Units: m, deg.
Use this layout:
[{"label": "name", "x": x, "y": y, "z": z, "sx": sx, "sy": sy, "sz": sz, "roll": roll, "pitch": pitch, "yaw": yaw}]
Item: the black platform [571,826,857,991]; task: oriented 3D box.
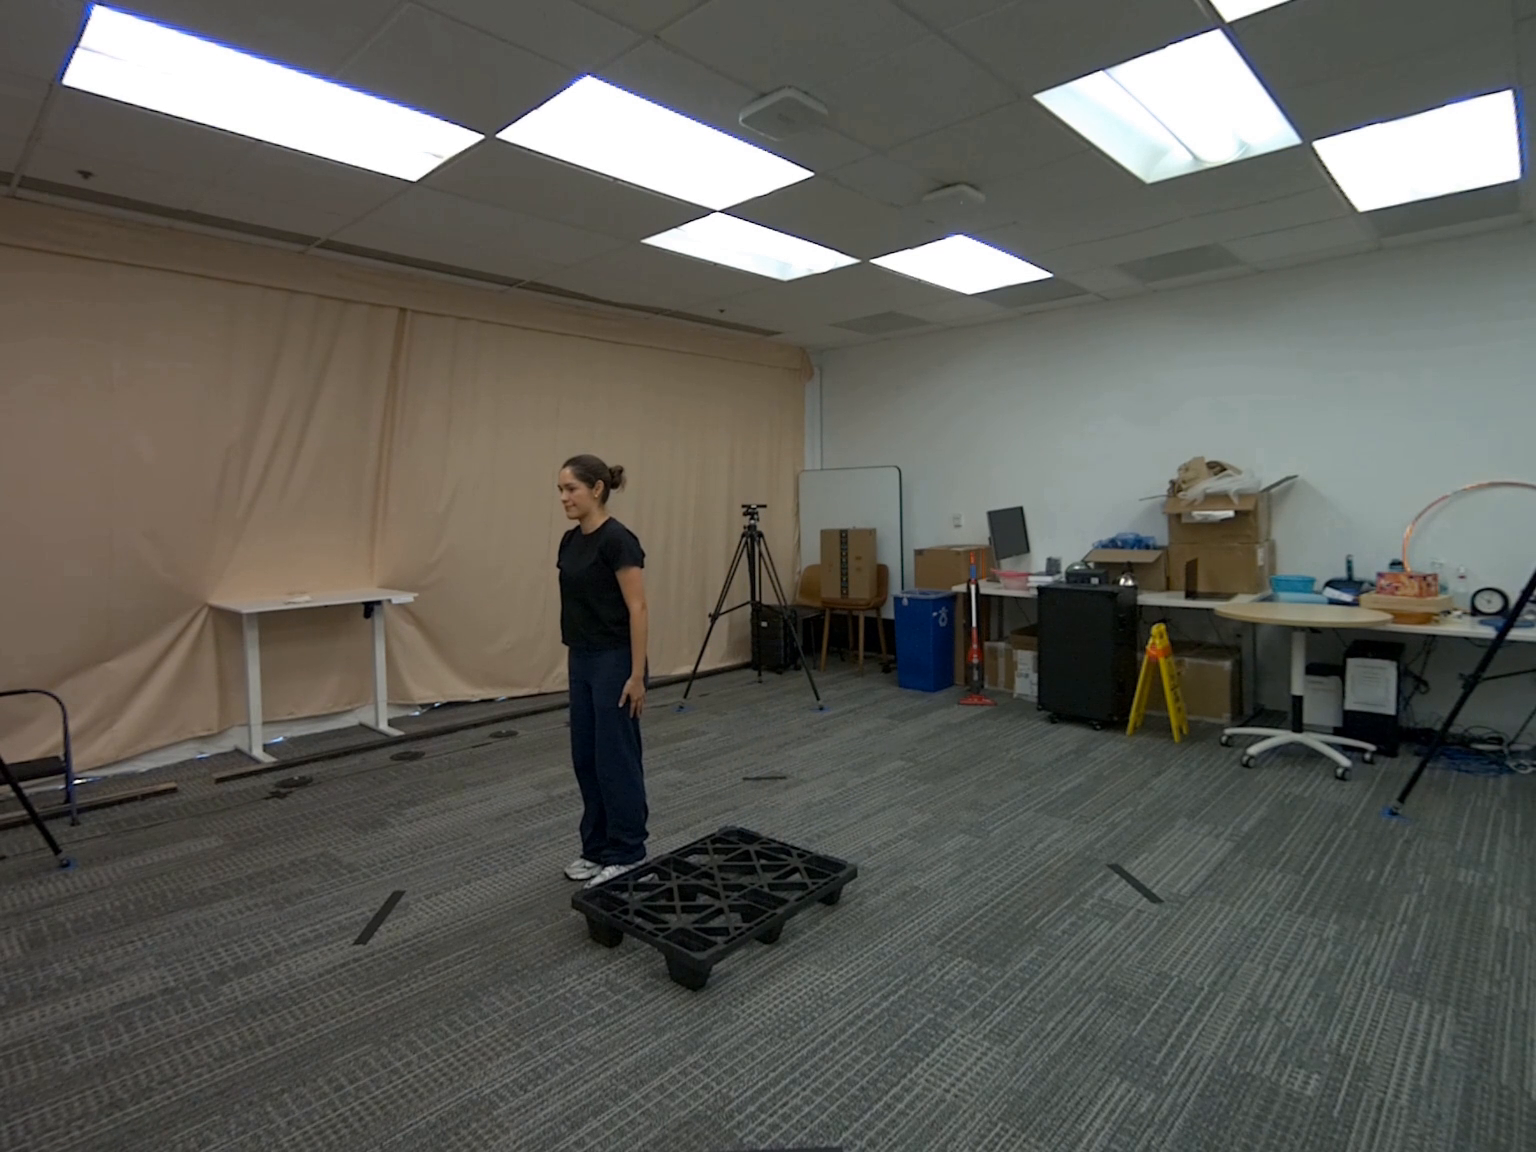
[{"label": "black platform", "x": -0.153, "y": 1.090, "z": 2.830, "sx": 0.625, "sy": 0.143, "sz": 0.781, "roll": 3, "pitch": 6, "yaw": 40}]
